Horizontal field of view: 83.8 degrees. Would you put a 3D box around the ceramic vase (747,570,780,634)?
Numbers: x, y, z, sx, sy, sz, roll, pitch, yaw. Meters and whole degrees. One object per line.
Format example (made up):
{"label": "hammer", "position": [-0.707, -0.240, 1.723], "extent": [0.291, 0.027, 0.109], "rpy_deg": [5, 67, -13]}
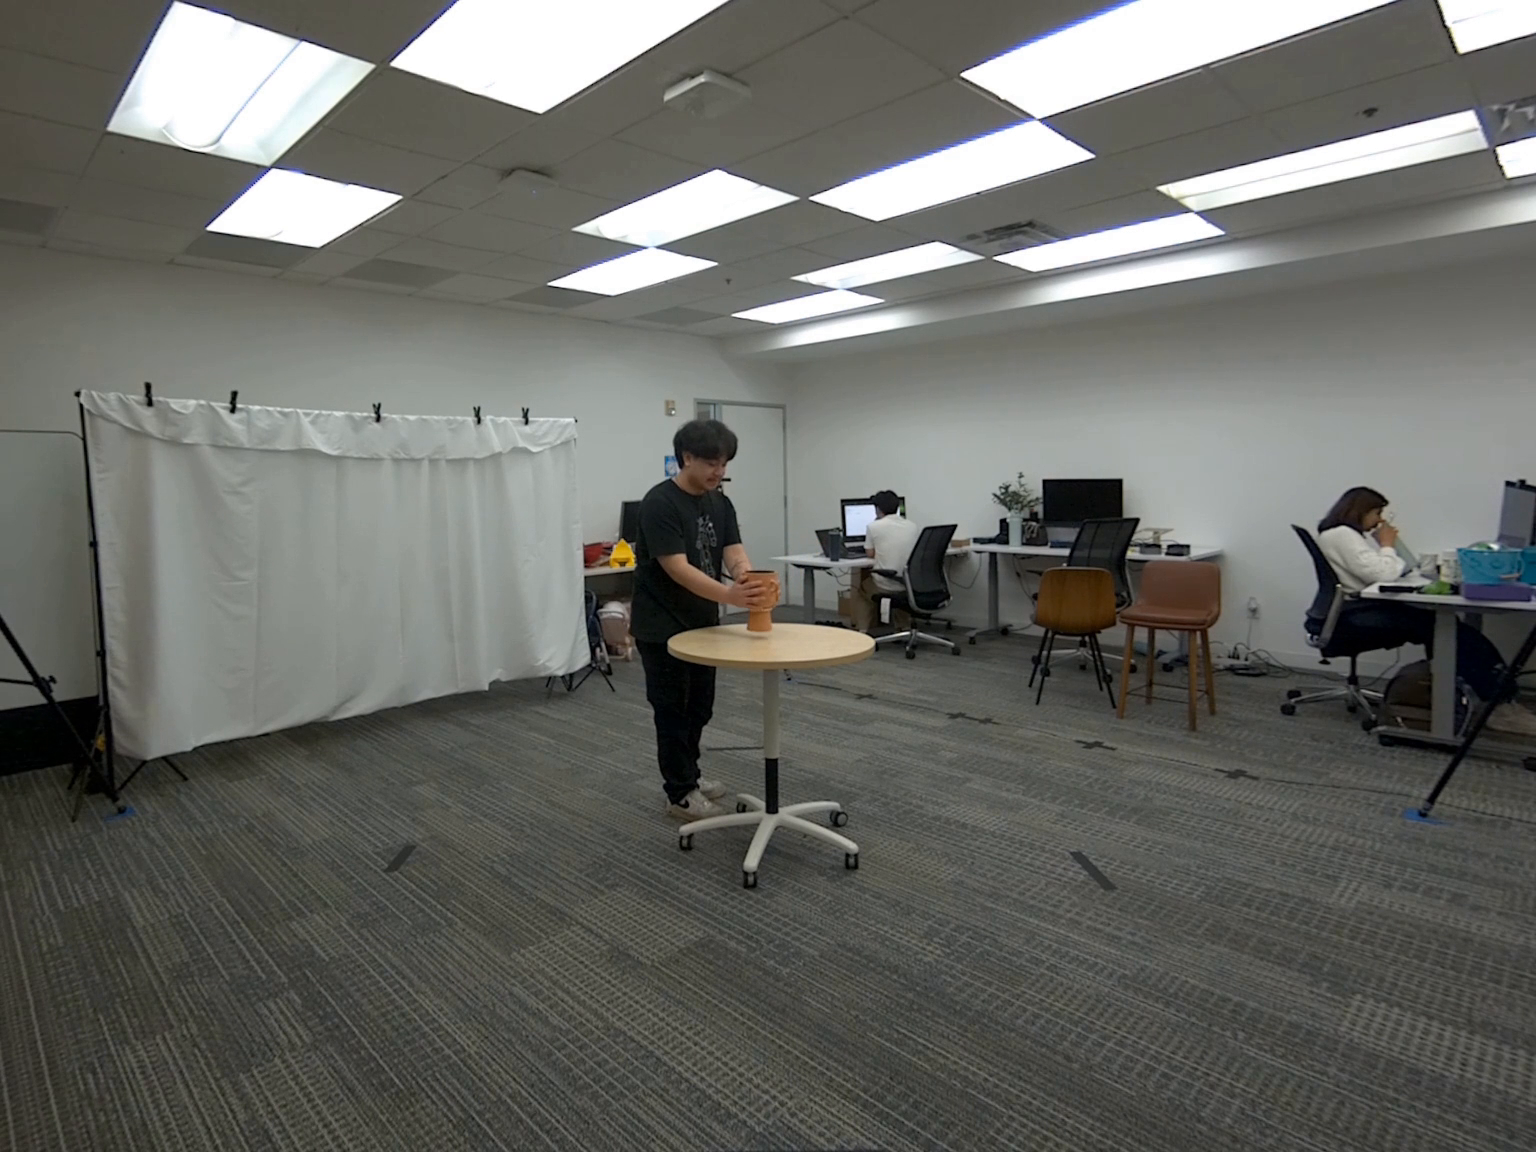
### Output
{"label": "ceramic vase", "position": [-0.033, 0.096, 3.219], "extent": [0.134, 0.219, 0.160], "rpy_deg": [-1, 5, -5]}
